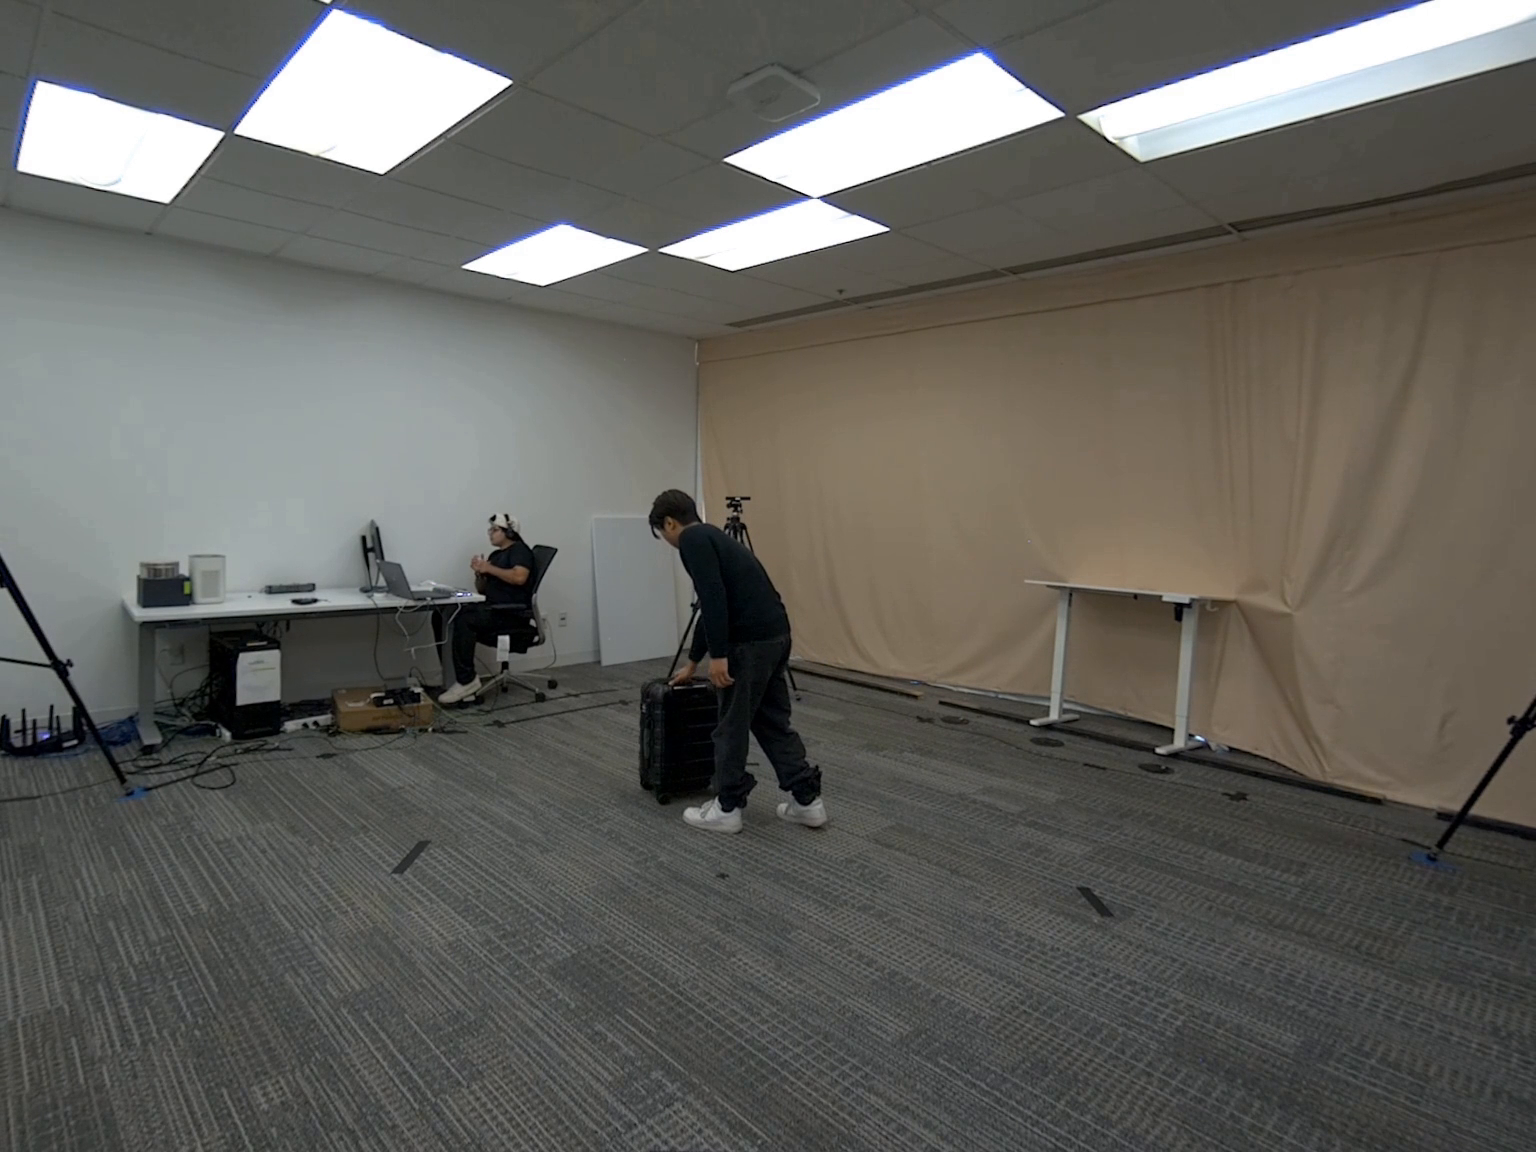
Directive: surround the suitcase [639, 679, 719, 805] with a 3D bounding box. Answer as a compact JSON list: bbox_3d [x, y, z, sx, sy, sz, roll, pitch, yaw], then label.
[{"bbox_3d":[-0.426,0.748,3.969,0.369,0.548,0.253,-2,5,-26],"label":"suitcase"}]
